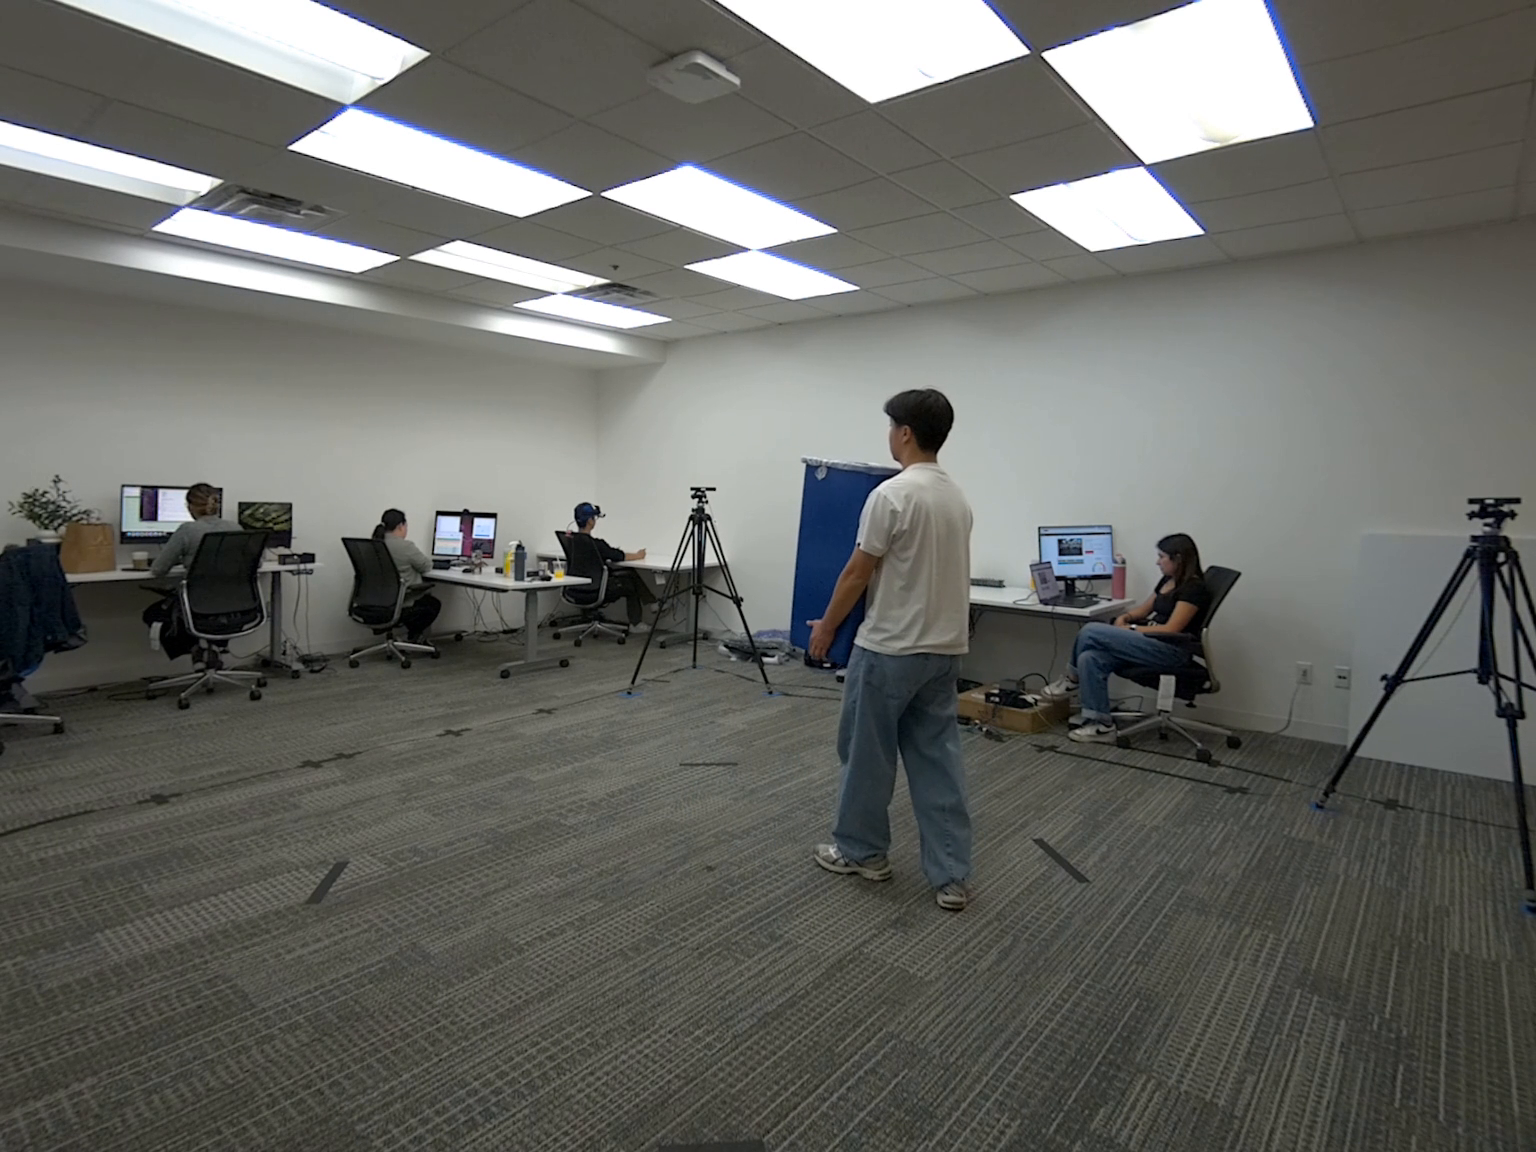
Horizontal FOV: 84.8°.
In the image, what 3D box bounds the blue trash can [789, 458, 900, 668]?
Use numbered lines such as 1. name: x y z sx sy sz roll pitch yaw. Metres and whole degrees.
1. blue trash can: 0.316 -0.077 3.204 0.362 0.709 0.393 0 11 -41
